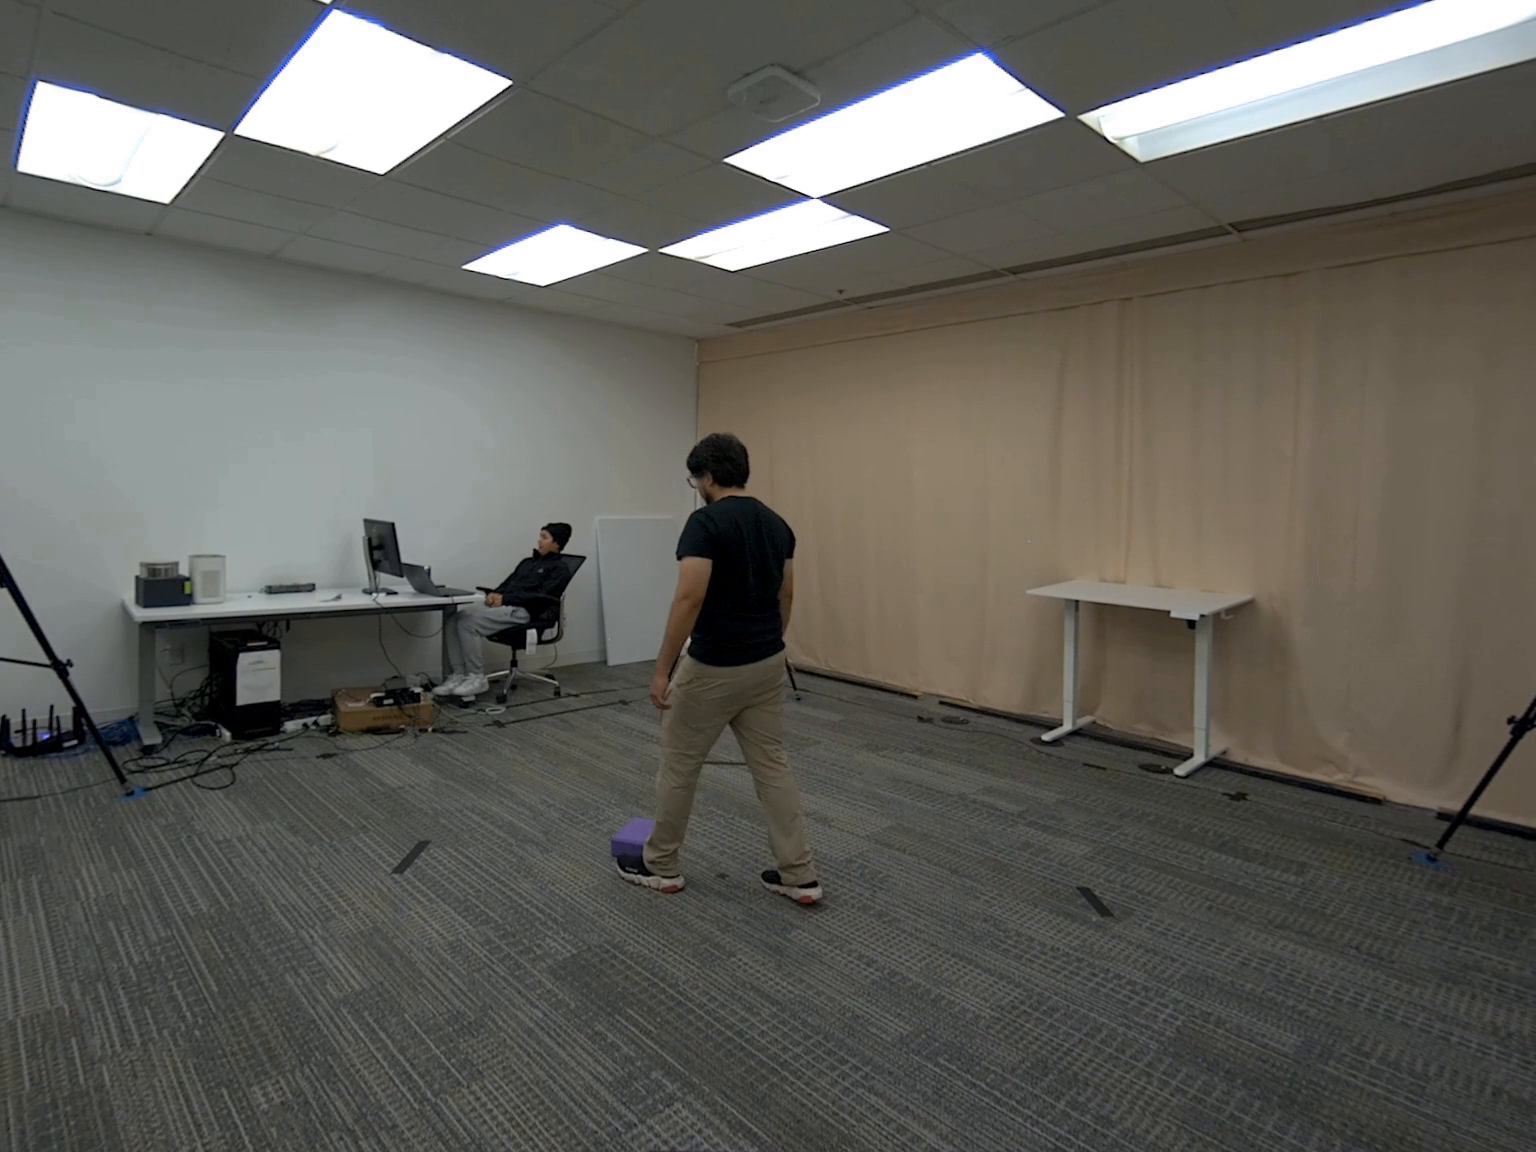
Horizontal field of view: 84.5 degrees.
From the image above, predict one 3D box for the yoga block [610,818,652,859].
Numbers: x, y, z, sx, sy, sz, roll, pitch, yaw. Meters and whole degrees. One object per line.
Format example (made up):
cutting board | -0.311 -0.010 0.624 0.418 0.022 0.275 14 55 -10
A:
yoga block | -0.515 1.039 3.325 0.151 0.076 0.227 4 5 15
